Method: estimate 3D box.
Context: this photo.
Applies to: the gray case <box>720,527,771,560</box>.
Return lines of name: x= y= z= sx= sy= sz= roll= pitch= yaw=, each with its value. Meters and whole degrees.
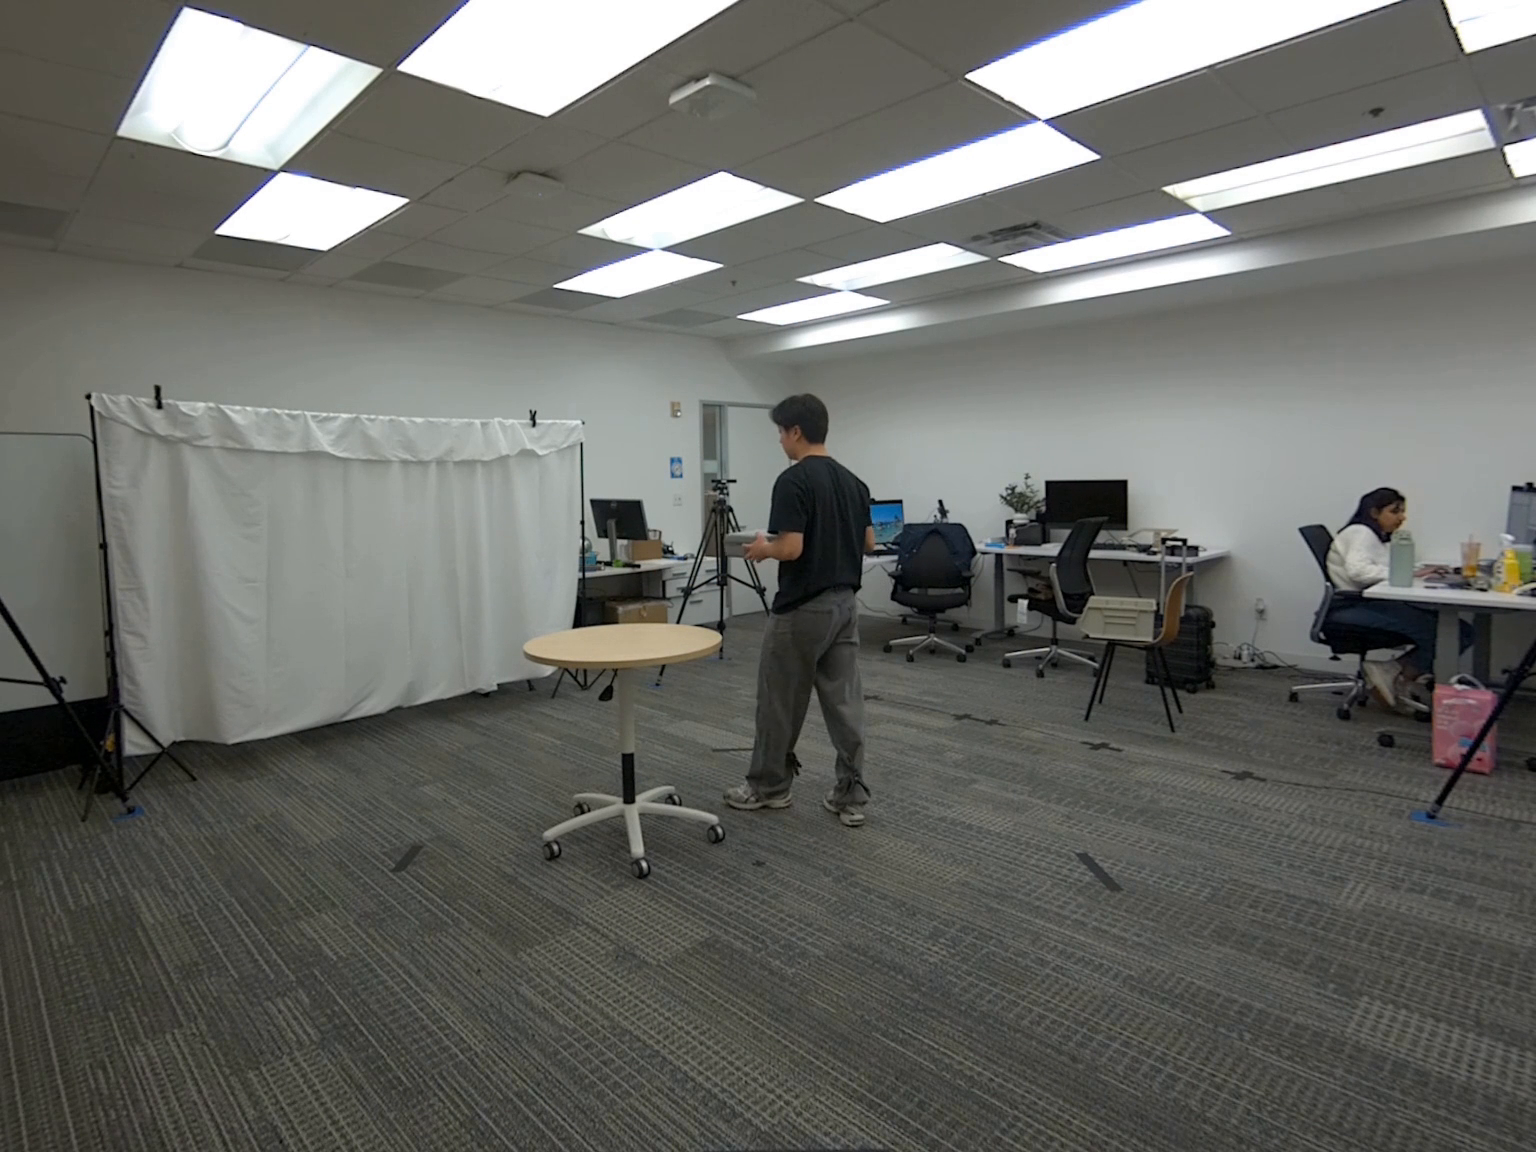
gray case: x=-0.016 y=-0.149 z=3.761 sx=0.296 sy=0.102 sz=0.257 roll=5 pitch=11 yaw=41
